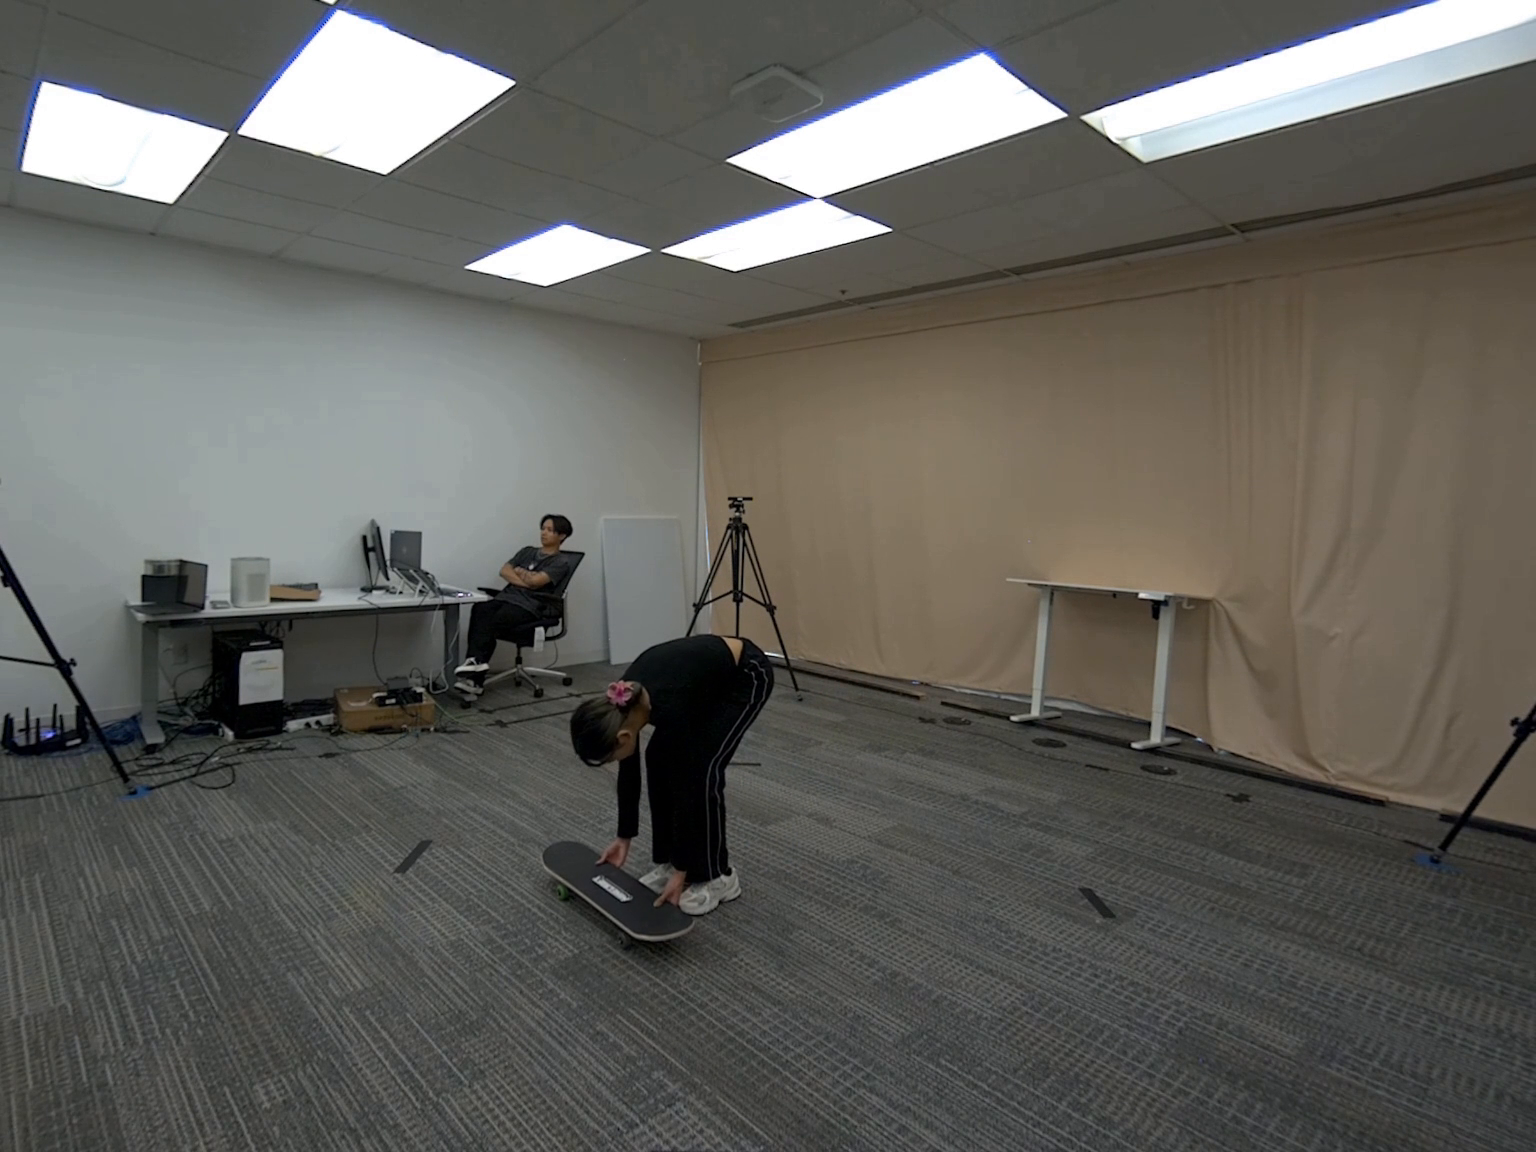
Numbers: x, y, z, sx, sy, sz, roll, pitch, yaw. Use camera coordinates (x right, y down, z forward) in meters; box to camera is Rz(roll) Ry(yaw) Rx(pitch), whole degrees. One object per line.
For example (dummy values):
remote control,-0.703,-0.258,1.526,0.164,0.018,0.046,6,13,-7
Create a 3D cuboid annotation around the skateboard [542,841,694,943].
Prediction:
skateboard,-0.531,1.070,2.783,0.189,0.110,0.806,-7,9,-41
